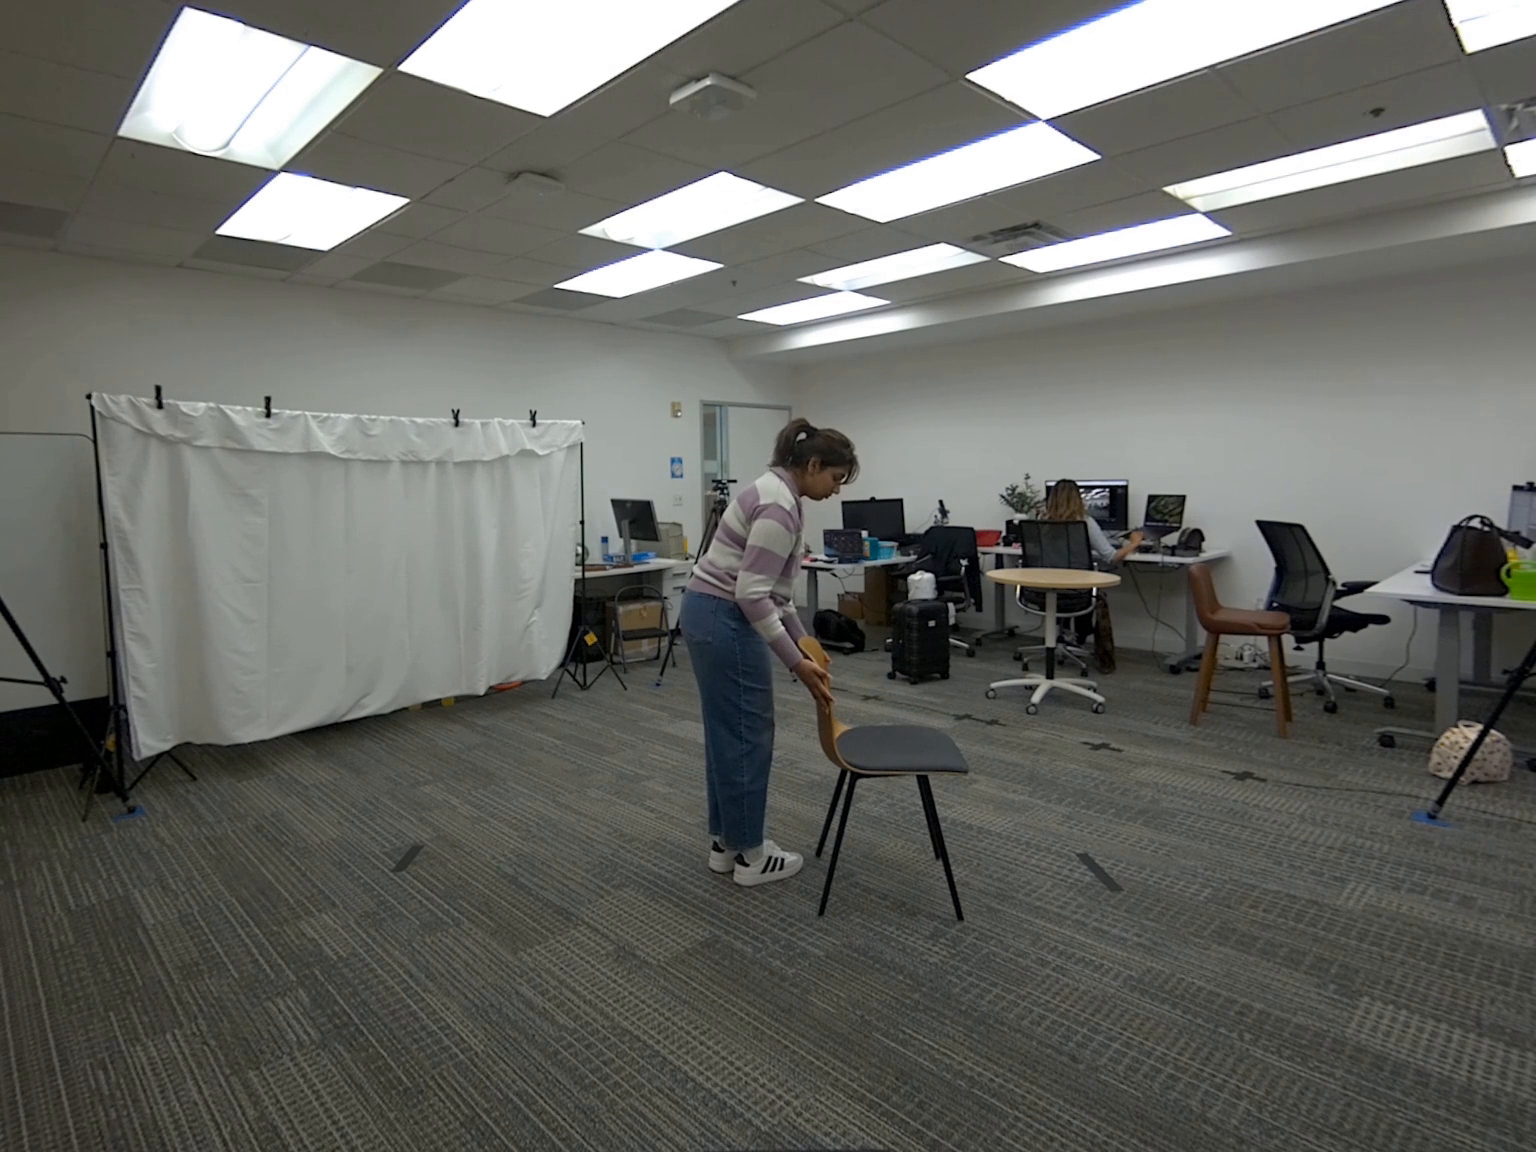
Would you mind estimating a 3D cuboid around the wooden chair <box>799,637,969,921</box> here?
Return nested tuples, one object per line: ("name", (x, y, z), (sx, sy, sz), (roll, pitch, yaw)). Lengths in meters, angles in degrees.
("wooden chair", (0.397, 0.630, 2.900), (0.525, 0.875, 0.477), (-5, 3, 4))
